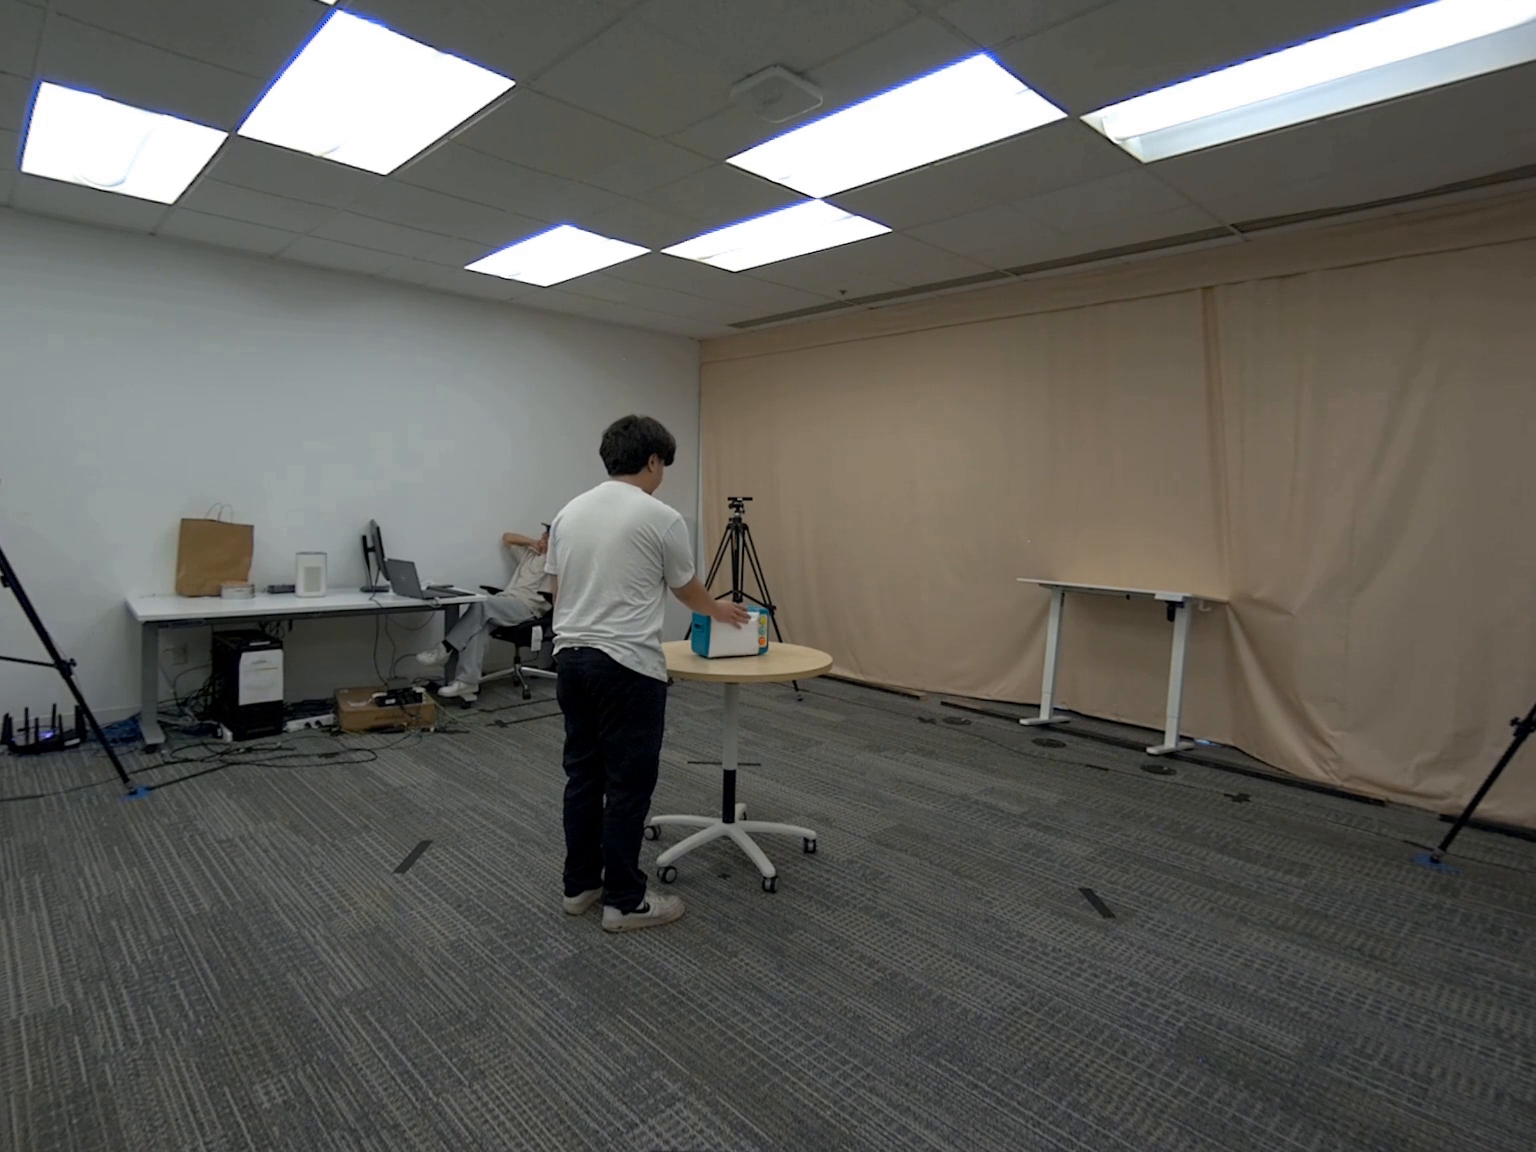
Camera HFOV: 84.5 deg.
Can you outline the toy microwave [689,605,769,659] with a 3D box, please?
[{"bbox_3d":[-0.149,0.212,3.230,0.280,0.184,0.156,0,4,-30],"label":"toy microwave"}]
